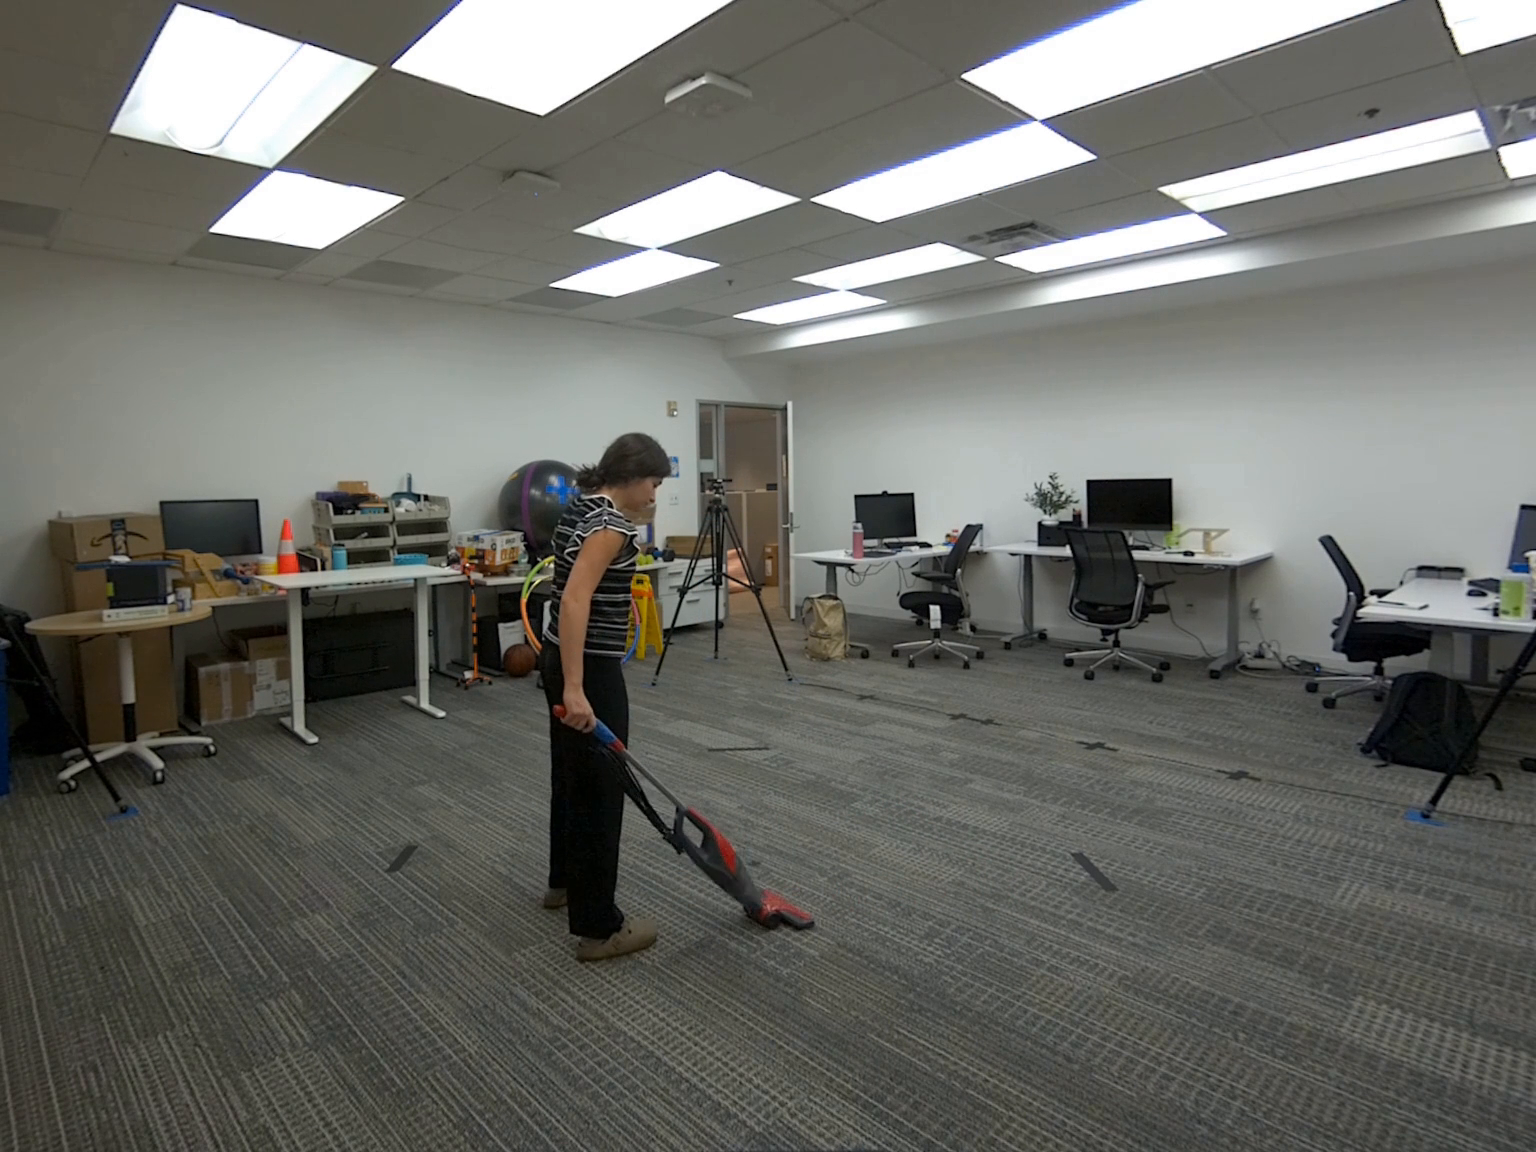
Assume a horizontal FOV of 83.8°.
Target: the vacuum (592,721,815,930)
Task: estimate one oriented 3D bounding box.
[{"bbox_3d":[-0.253,0.724,2.516,0.144,1.018,0.260,-50,27,-18],"label":"vacuum"}]
